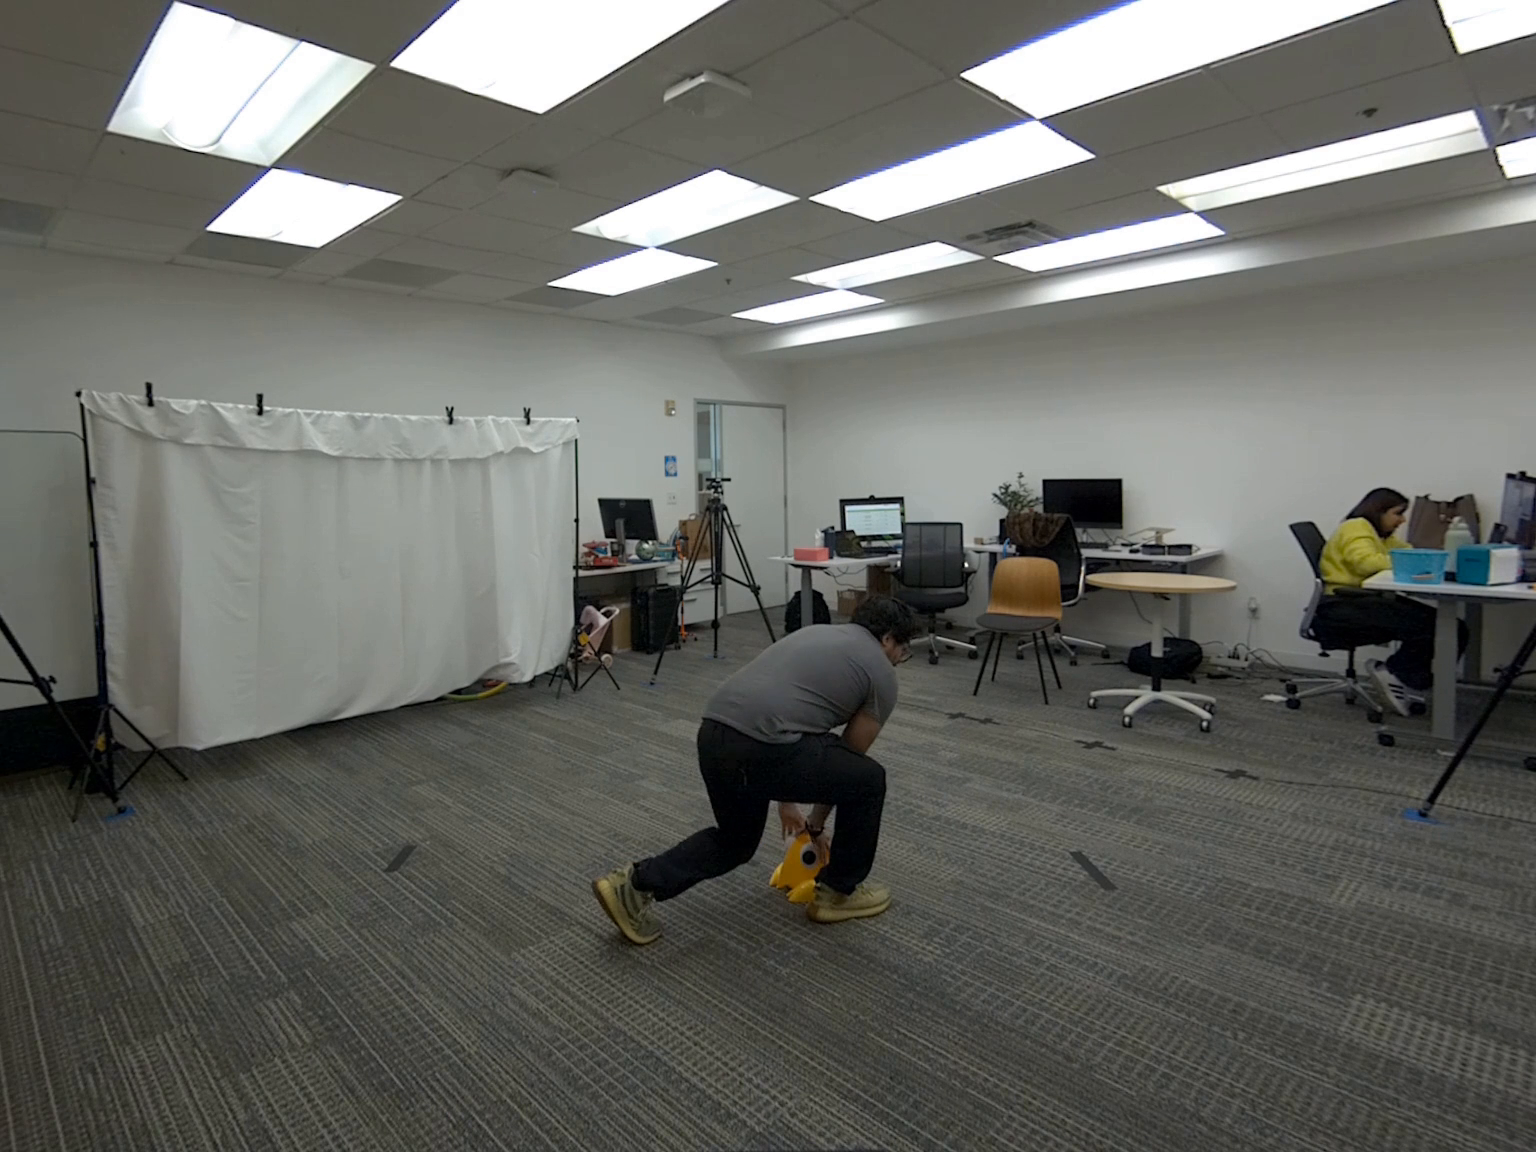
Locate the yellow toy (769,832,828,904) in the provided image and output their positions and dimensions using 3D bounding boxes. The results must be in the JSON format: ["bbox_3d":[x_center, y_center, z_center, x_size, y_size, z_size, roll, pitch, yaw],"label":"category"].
[{"bbox_3d":[0.121,0.953,2.906,0.189,0.229,0.210,-3,6,-29],"label":"yellow toy"}]
